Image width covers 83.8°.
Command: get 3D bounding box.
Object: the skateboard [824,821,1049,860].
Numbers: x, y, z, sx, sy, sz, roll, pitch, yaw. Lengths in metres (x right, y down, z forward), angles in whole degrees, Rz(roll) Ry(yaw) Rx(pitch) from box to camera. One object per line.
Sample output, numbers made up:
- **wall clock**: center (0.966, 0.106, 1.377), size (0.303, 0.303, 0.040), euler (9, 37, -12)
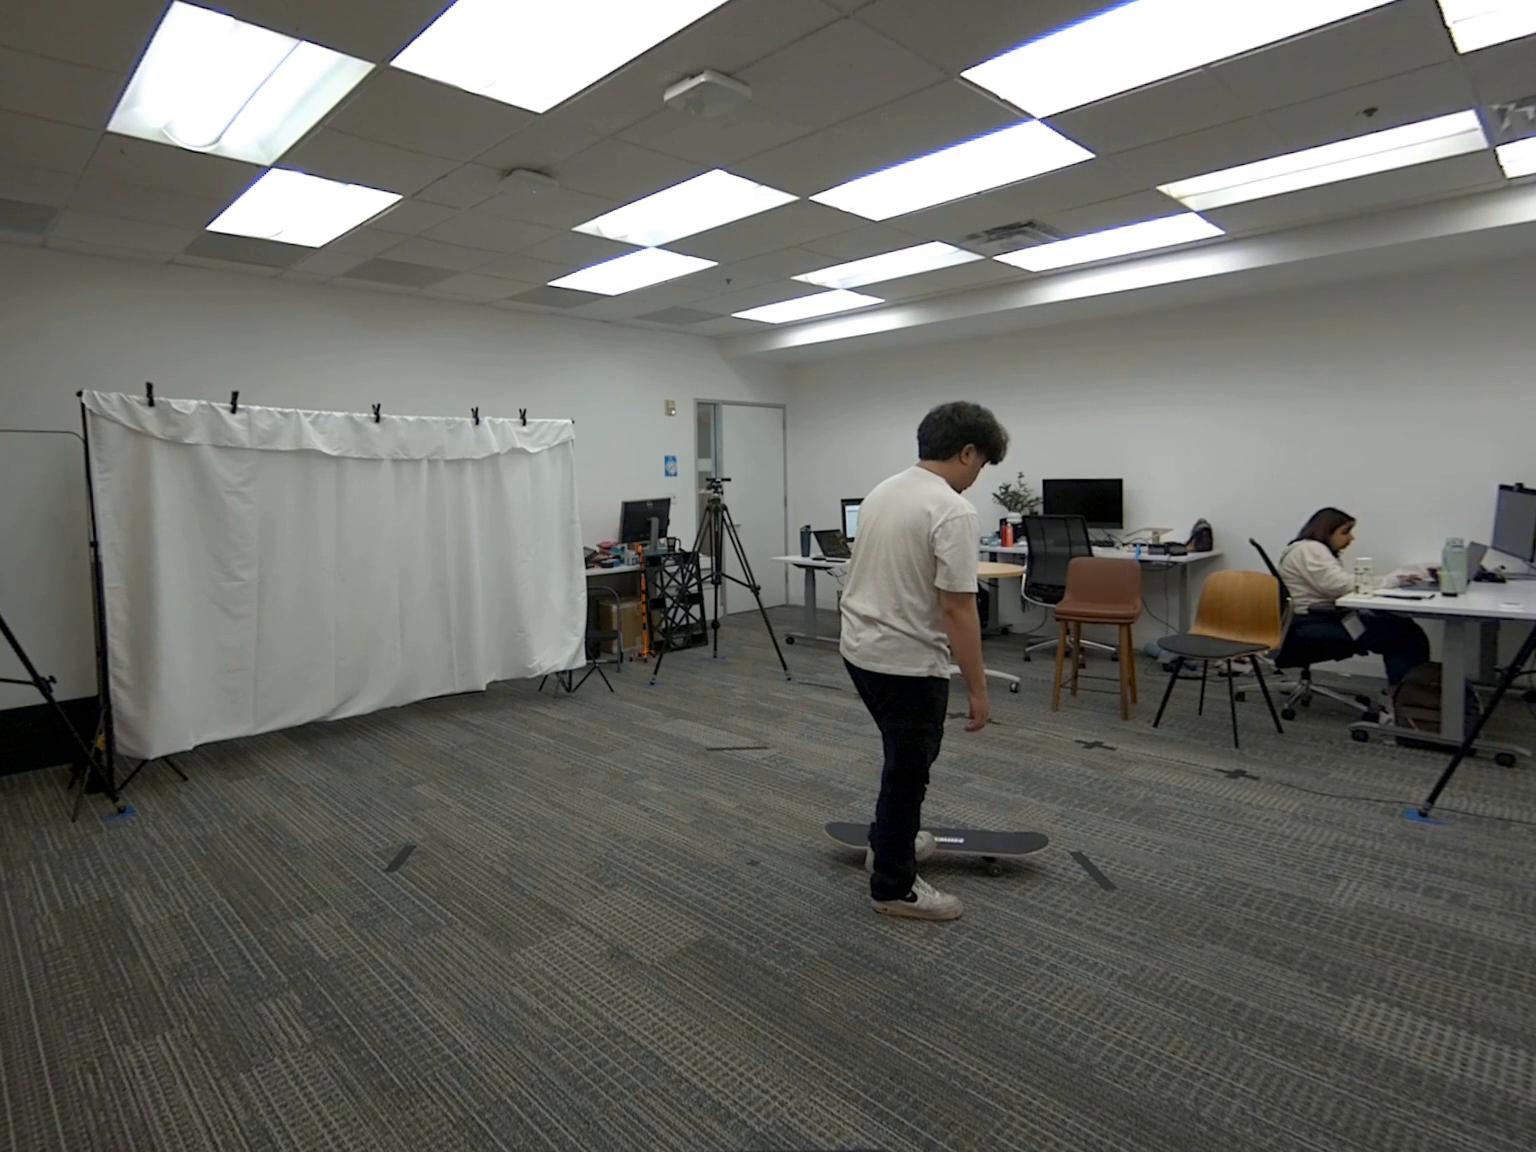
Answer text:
- **skateboard**: center (0.593, 0.975, 3.077), size (0.792, 0.110, 0.192), euler (0, 6, 9)
